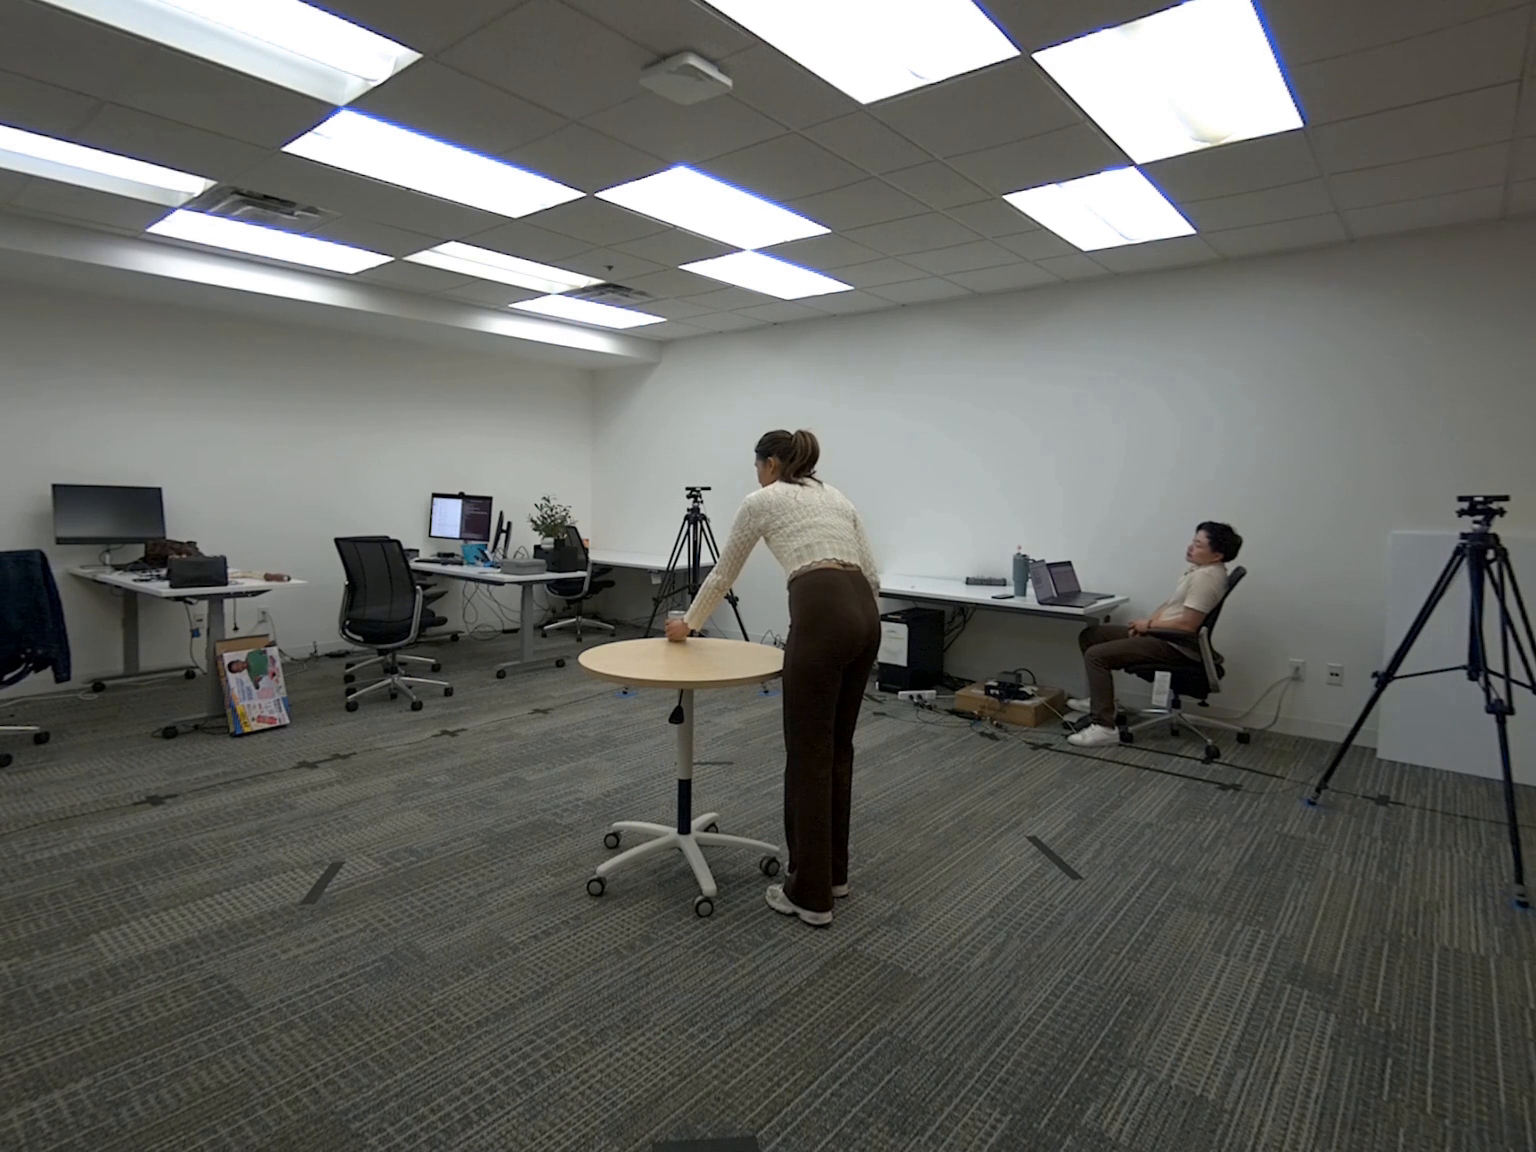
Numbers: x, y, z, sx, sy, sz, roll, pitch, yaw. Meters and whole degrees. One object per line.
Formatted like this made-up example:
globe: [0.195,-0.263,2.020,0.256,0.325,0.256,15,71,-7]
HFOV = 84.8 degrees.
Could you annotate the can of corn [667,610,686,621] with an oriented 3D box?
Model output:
can of corn: [-0.363,0.195,3.361,0.074,0.110,0.074,-1,5,-2]
